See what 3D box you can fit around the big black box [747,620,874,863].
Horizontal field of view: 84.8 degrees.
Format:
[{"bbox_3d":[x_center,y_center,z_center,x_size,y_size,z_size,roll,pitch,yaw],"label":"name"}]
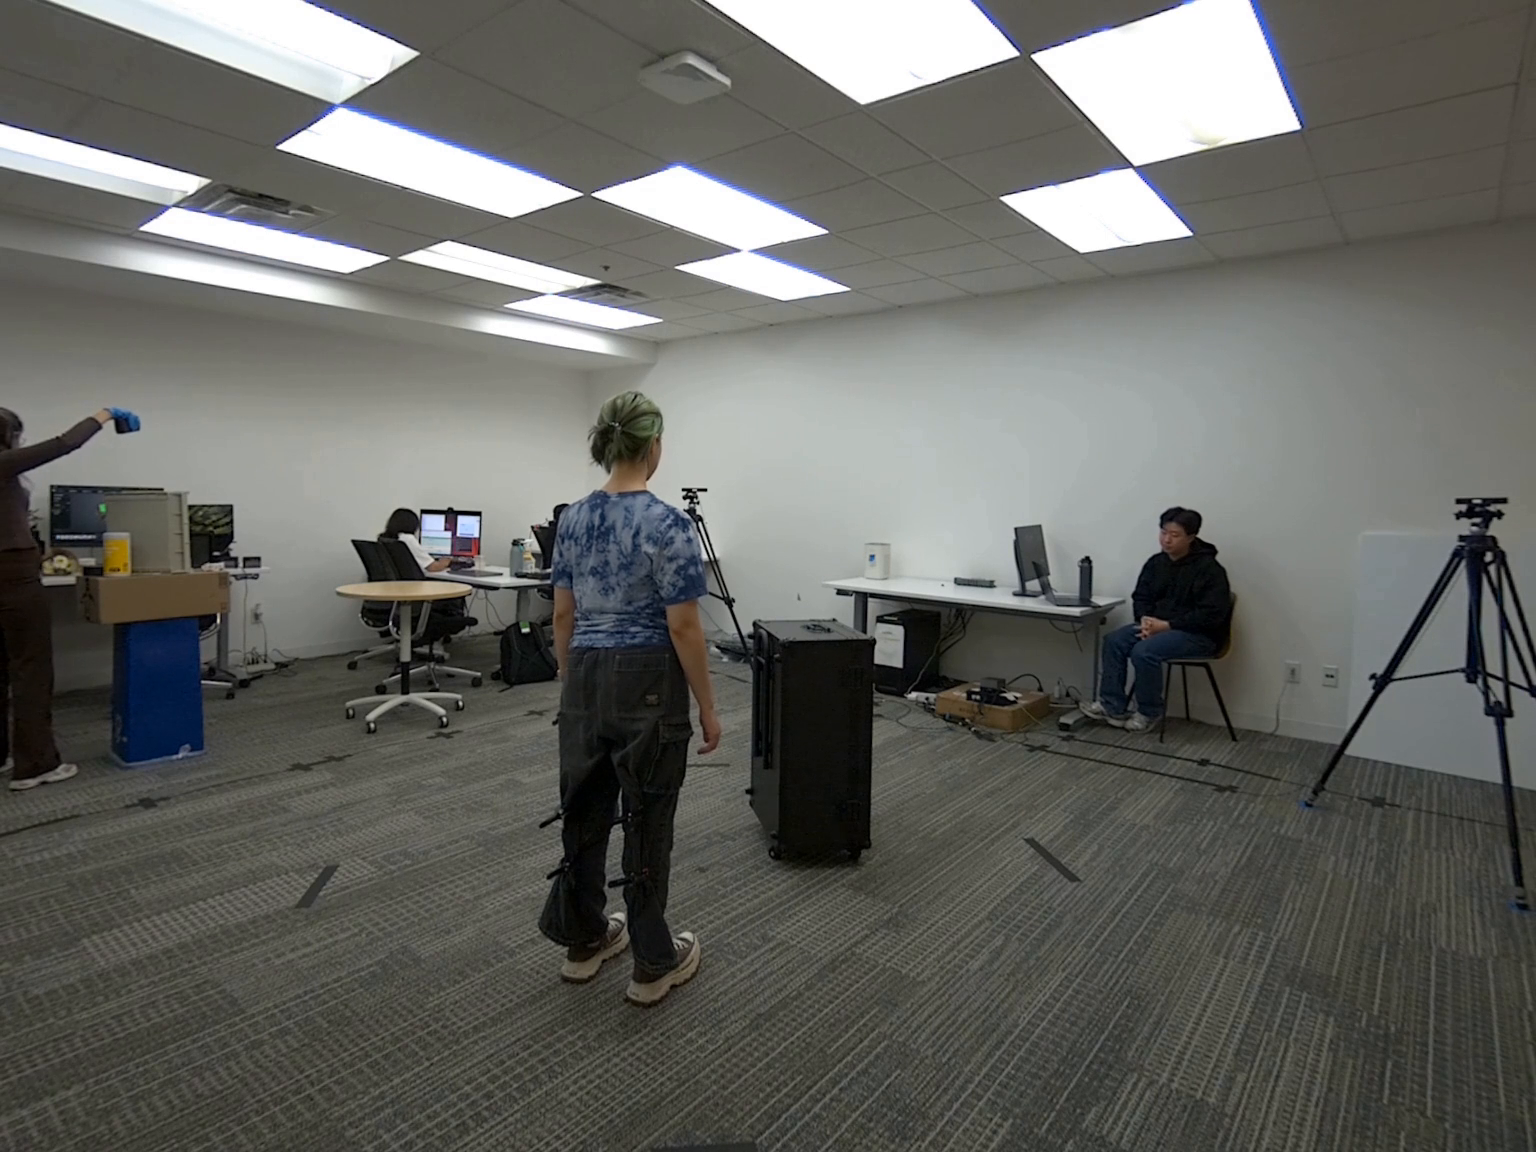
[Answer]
[{"bbox_3d":[0.145,0.628,3.332,0.392,0.858,0.529,0,4,-12],"label":"big black box"}]
